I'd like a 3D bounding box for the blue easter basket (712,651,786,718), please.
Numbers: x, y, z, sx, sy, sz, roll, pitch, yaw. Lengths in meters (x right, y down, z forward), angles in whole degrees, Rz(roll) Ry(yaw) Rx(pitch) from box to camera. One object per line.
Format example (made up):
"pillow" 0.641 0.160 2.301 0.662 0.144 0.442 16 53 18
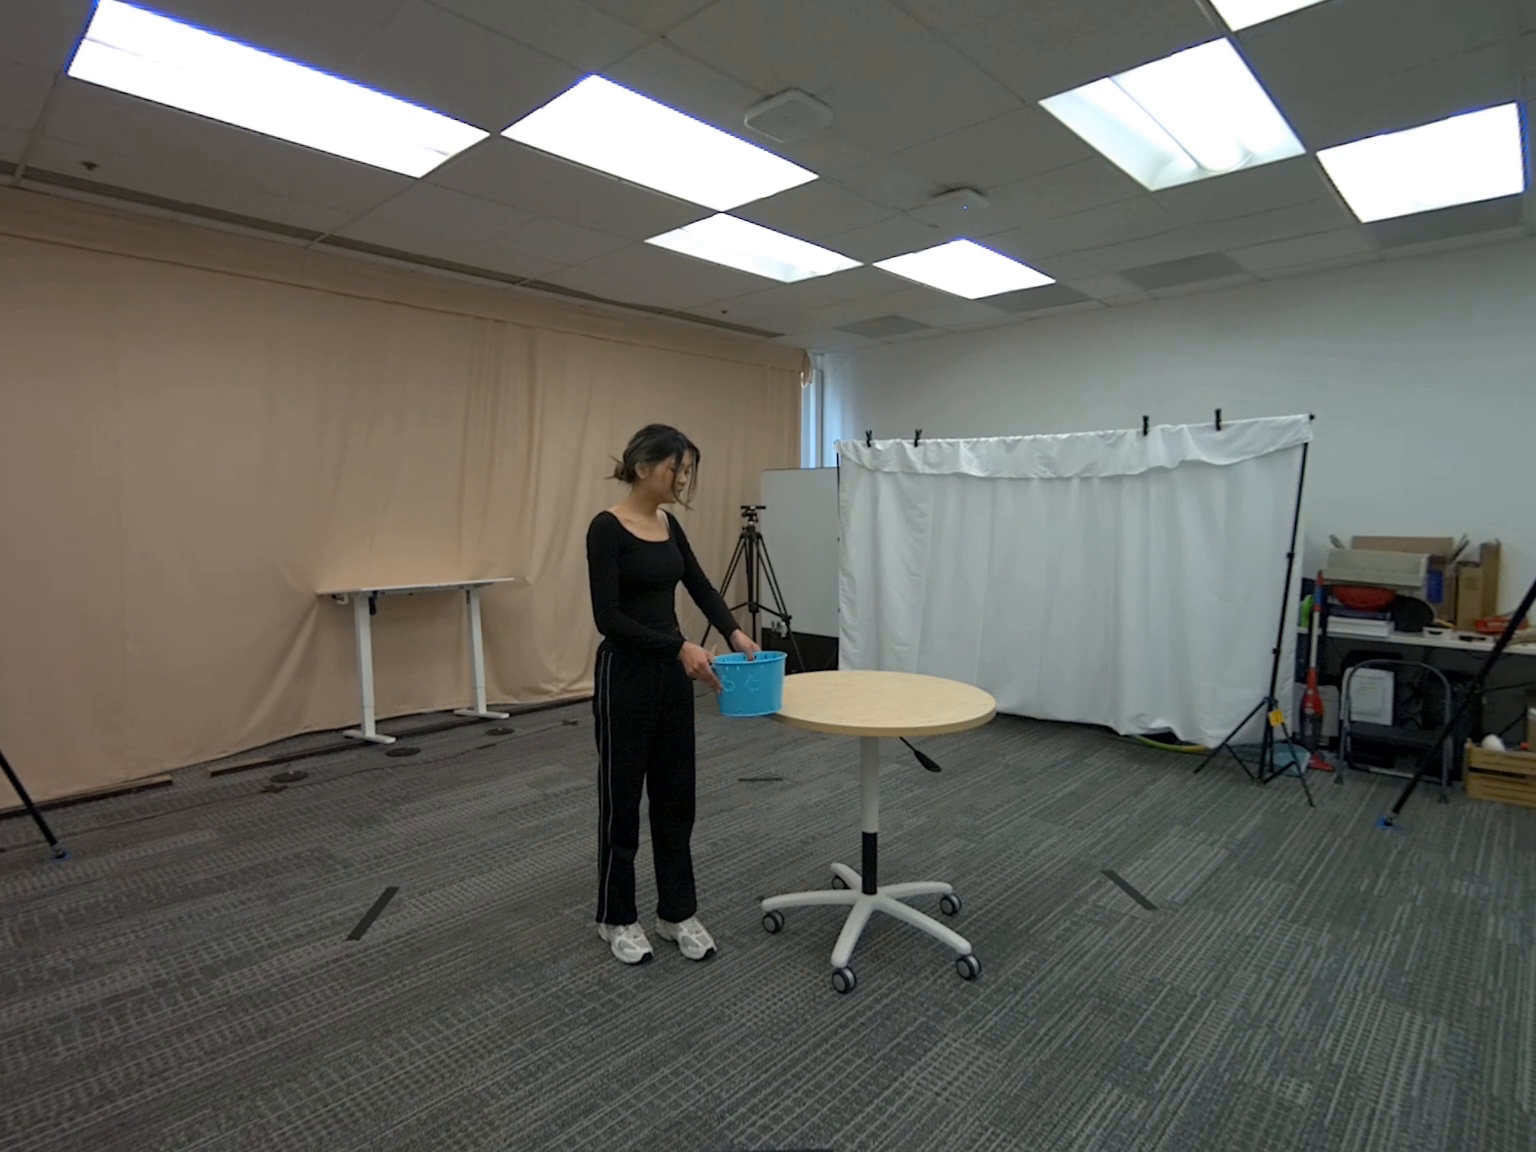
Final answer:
"blue easter basket" -0.060 0.314 2.405 0.243 0.156 0.244 -4 2 -2
